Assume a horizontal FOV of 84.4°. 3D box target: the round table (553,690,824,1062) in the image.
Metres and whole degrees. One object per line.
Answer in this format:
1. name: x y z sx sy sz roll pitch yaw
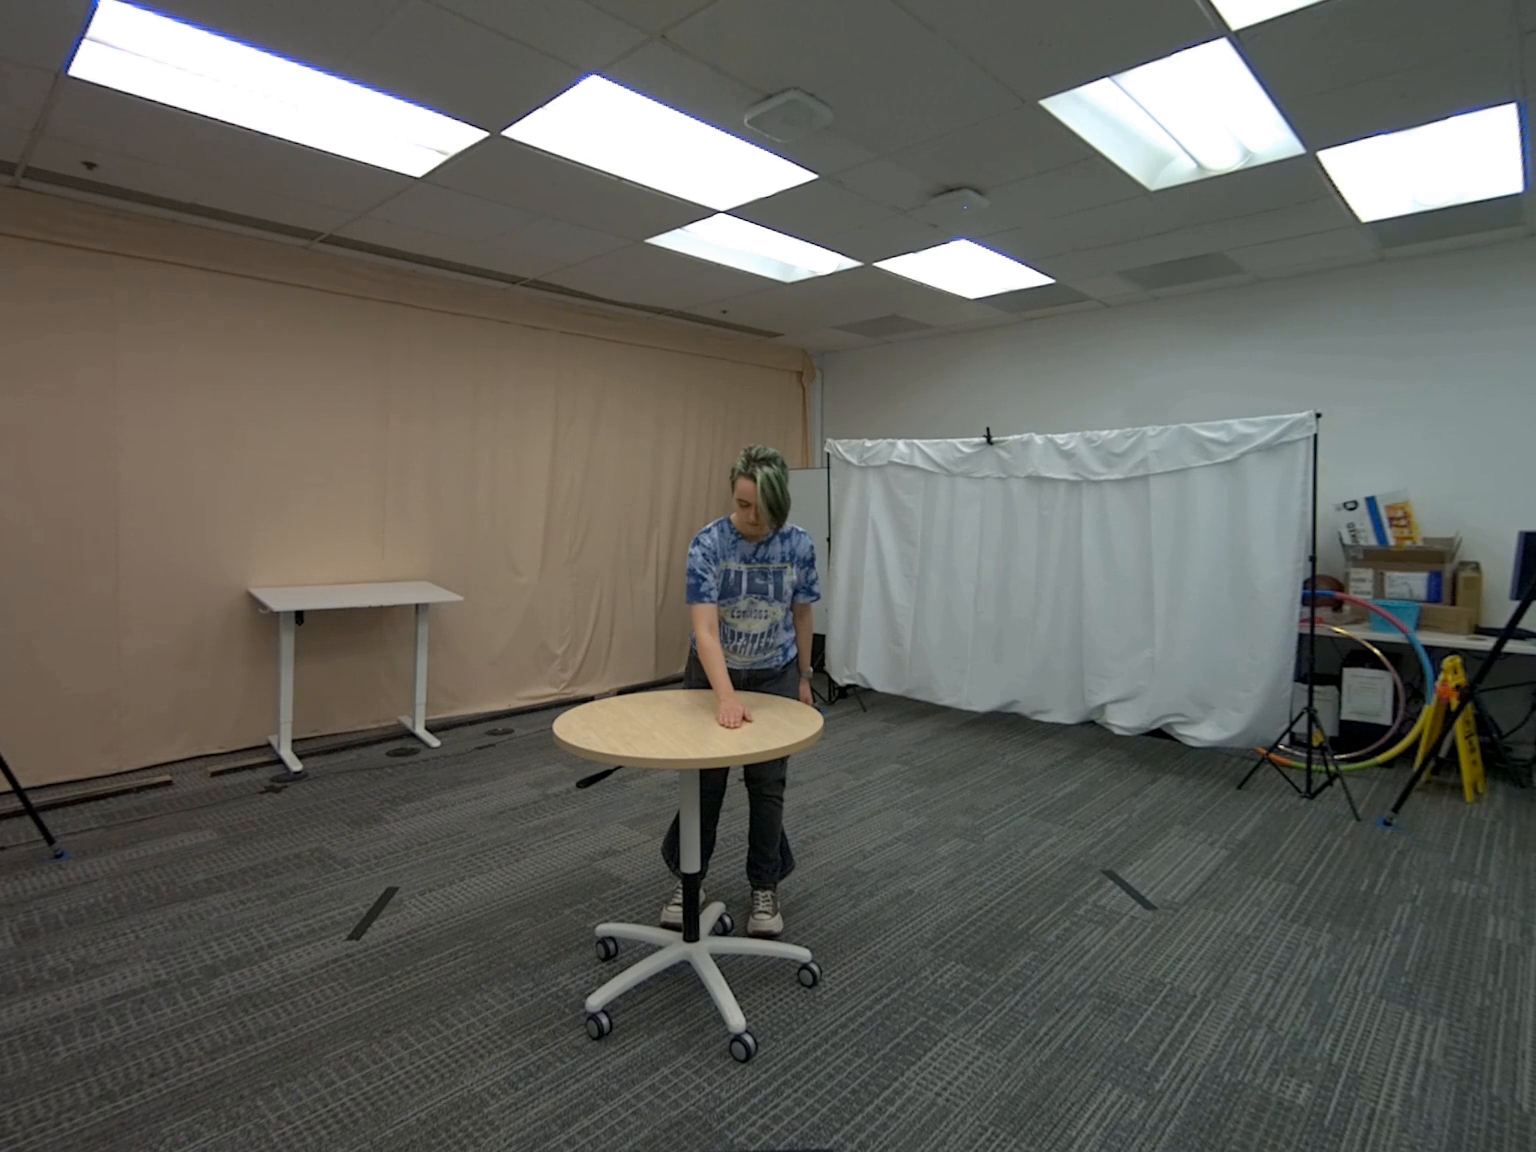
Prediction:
1. round table: -0.231 0.796 2.434 0.784 0.785 0.788 0 4 -2
